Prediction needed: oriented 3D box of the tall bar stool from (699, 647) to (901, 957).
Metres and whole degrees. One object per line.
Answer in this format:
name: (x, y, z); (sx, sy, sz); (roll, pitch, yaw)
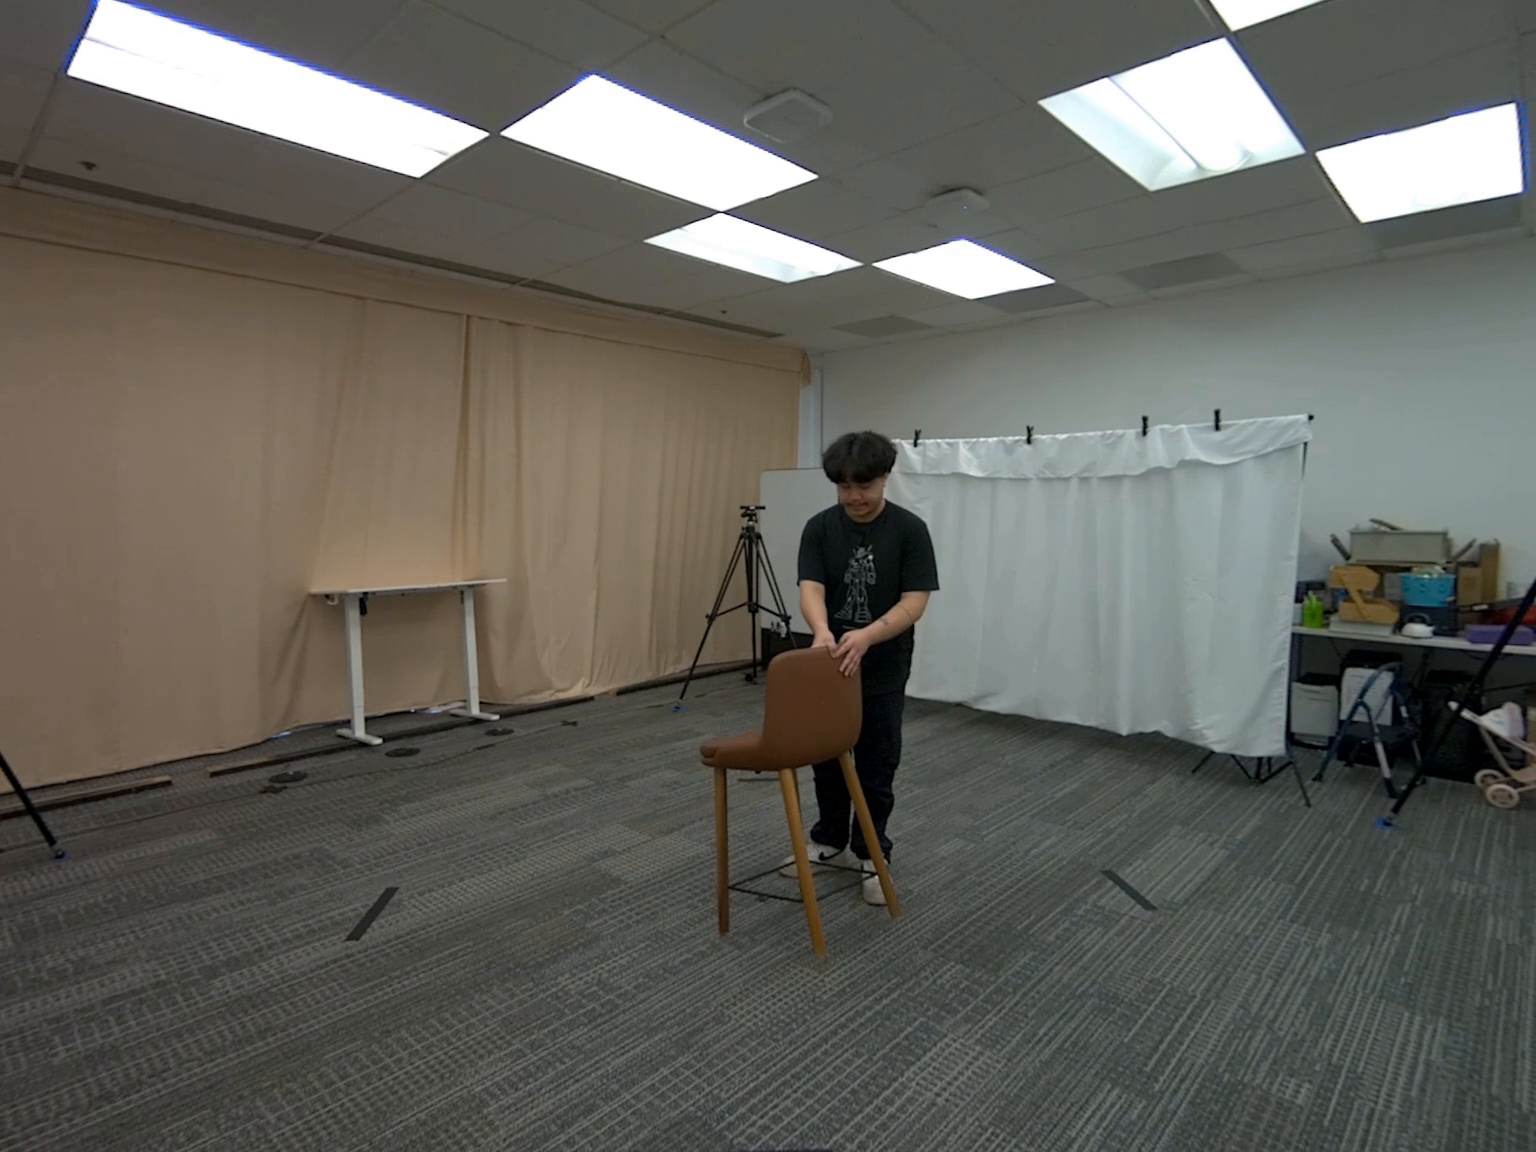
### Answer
tall bar stool: (0.078, 0.690, 2.741); (0.442, 0.893, 0.480); (-3, -6, -41)
